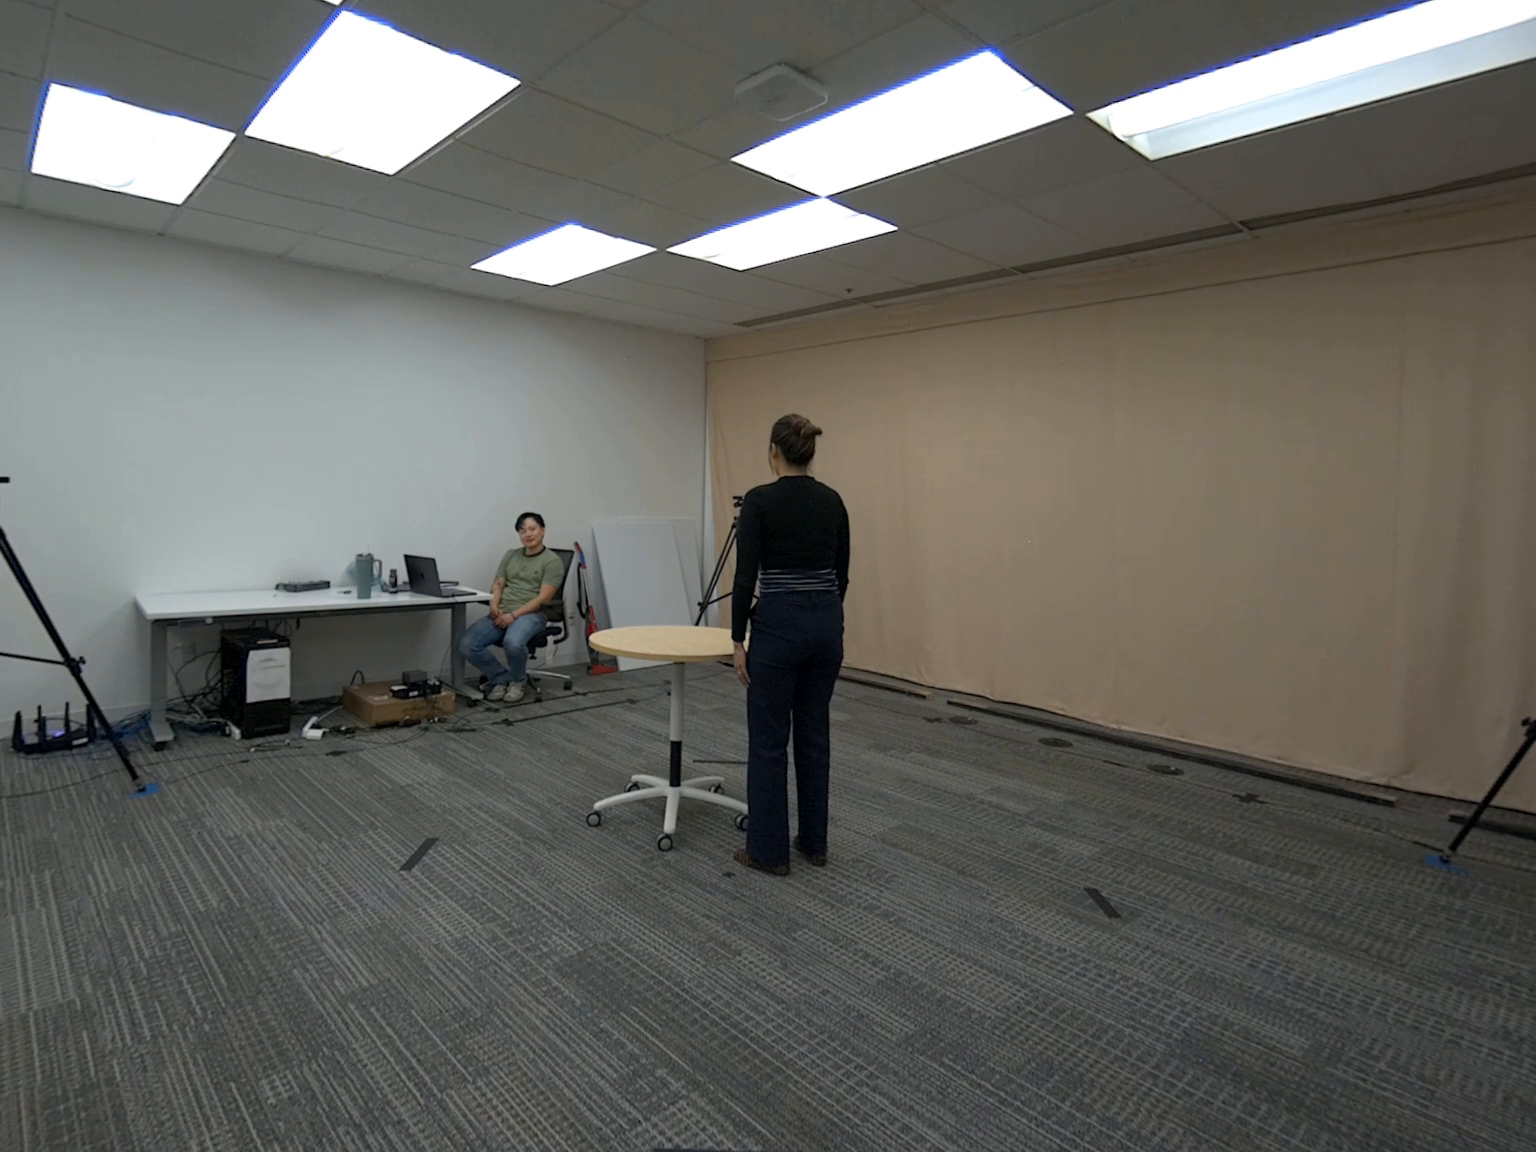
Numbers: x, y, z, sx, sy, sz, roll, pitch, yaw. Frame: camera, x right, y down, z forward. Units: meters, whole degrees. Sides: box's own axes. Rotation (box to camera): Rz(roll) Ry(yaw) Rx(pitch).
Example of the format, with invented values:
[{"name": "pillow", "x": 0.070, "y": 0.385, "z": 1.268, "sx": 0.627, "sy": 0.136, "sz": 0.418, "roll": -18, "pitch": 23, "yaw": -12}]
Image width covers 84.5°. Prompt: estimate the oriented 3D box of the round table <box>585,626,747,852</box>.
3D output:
[{"name": "round table", "x": -0.408, "y": 0.662, "z": 3.630, "sx": 0.763, "sy": 0.792, "sz": 0.766, "roll": 2, "pitch": 3, "yaw": -1}]
